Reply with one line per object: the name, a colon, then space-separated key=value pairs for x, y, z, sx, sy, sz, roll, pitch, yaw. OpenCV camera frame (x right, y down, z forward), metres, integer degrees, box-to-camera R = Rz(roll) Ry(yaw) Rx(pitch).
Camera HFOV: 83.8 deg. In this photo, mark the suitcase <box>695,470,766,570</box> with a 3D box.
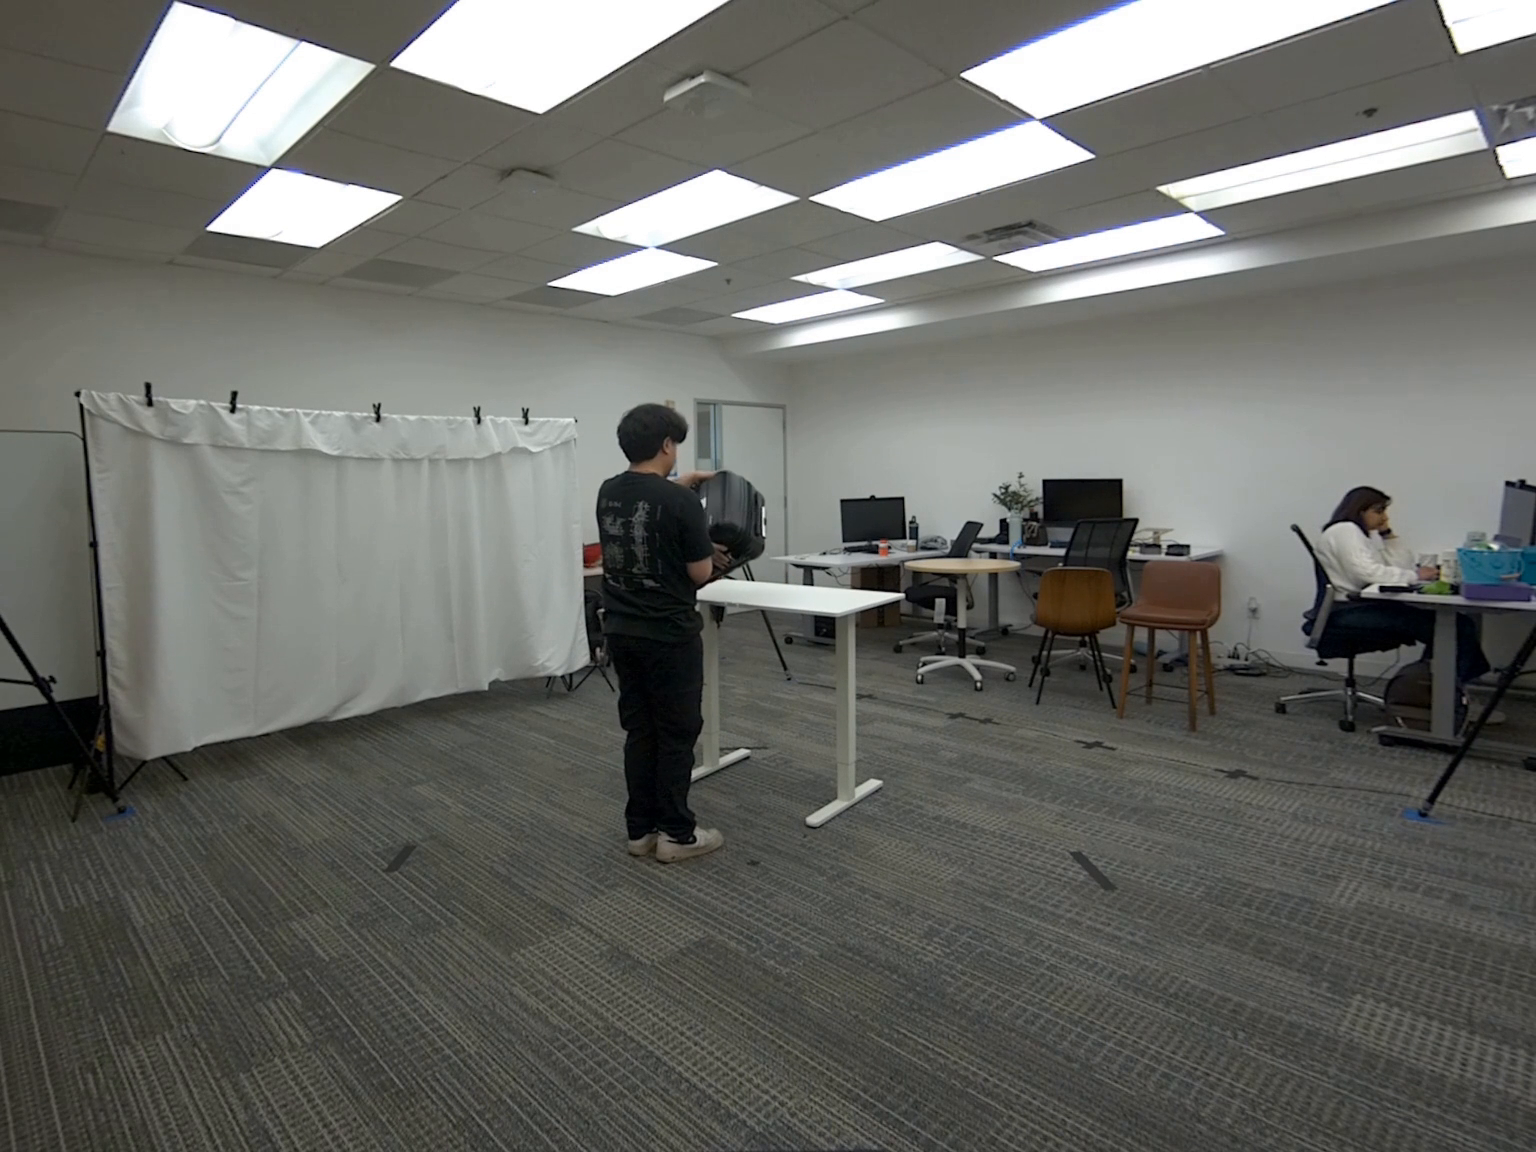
suitcase: x=-0.270 y=-0.166 z=3.565 sx=0.555 sy=0.385 sz=0.239 roll=-29 pitch=-47 yaw=34
